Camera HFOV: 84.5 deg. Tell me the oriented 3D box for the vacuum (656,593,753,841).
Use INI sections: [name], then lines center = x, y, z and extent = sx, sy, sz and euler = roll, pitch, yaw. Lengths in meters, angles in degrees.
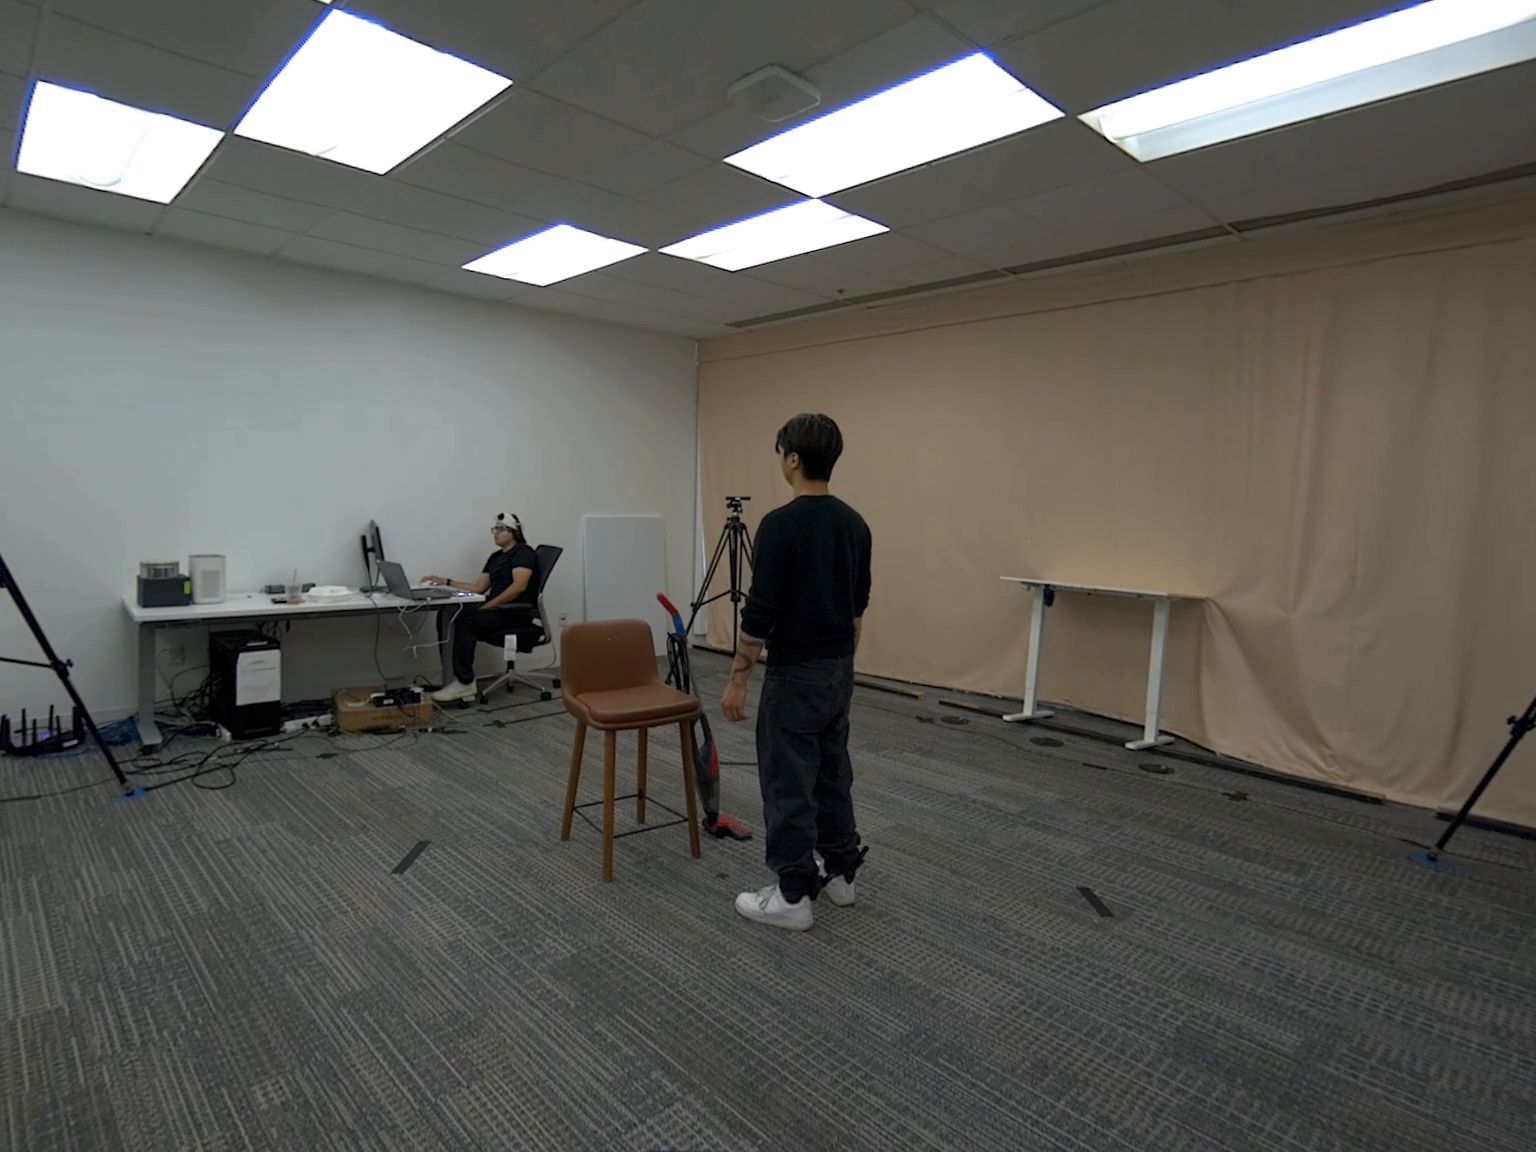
[vacuum]
center = -0.316, 0.572, 3.436
extent = 0.142, 1.039, 0.258
euler = -19, 12, -29
